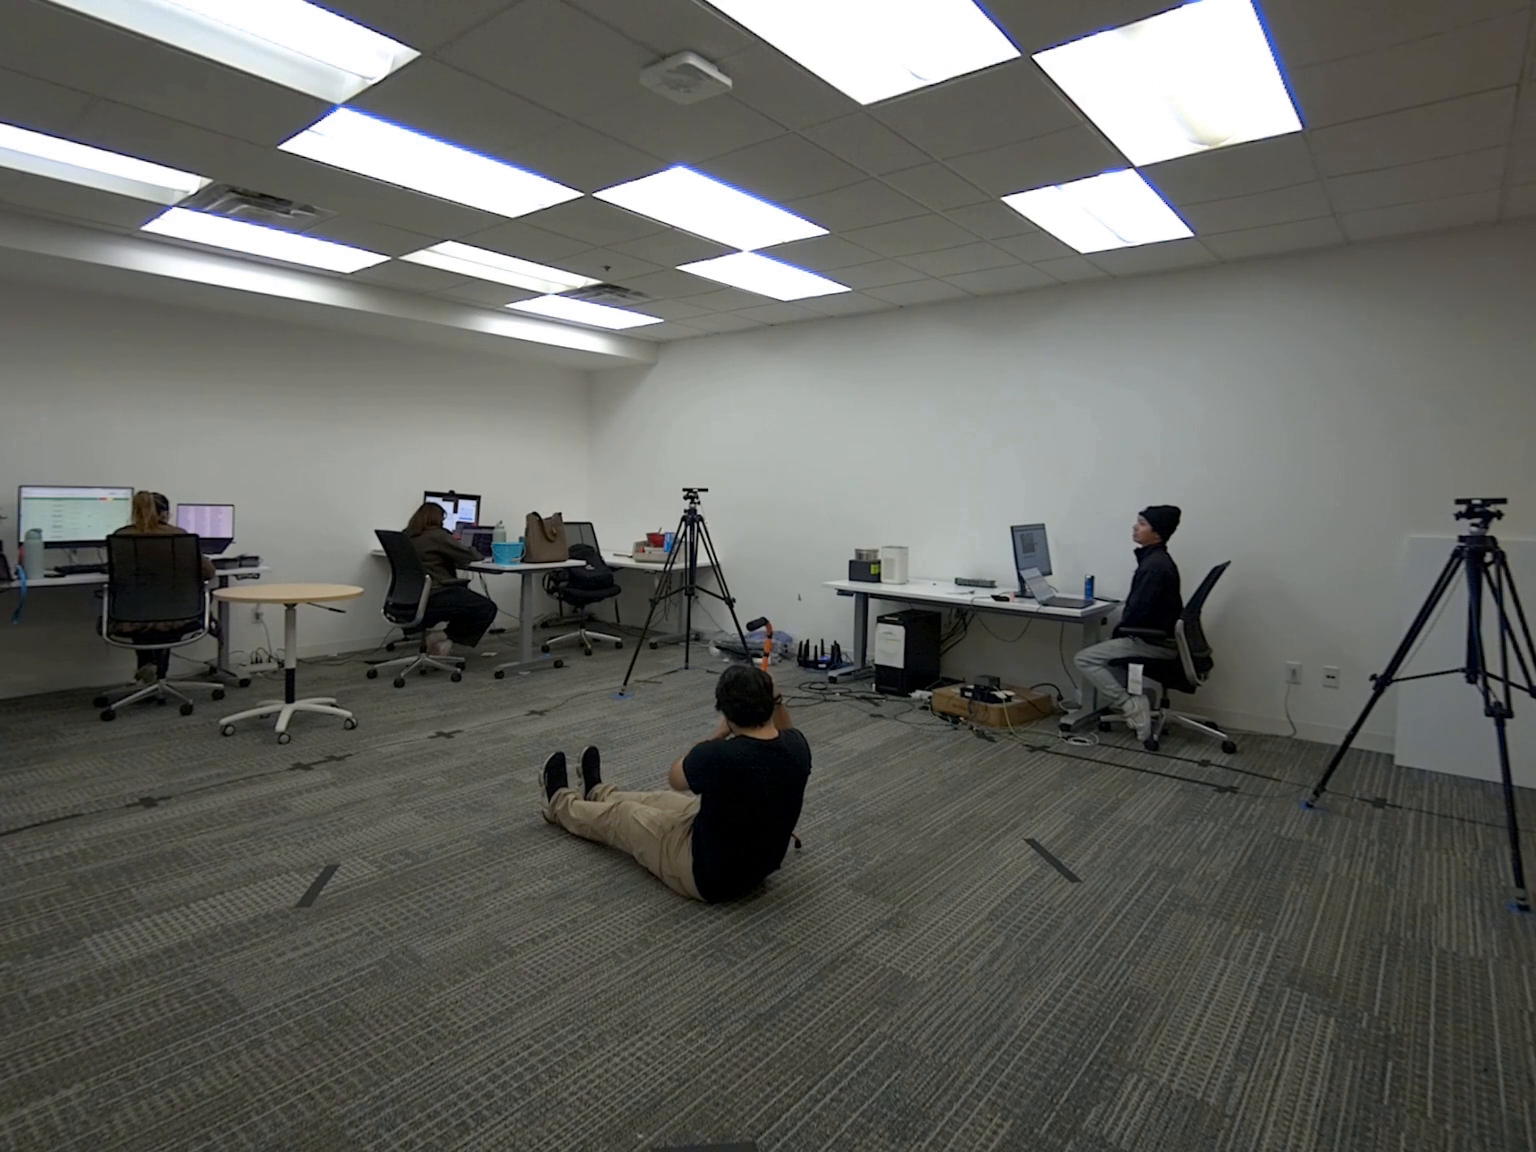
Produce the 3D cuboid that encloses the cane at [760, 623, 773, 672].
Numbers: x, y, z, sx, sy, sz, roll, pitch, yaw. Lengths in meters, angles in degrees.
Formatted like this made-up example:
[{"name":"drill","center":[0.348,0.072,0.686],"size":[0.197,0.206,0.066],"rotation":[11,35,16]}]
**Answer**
[{"name":"cane","center":[0.003,0.600,3.198],"size":[0.156,0.903,0.201],"rotation":[3,7,31]}]
